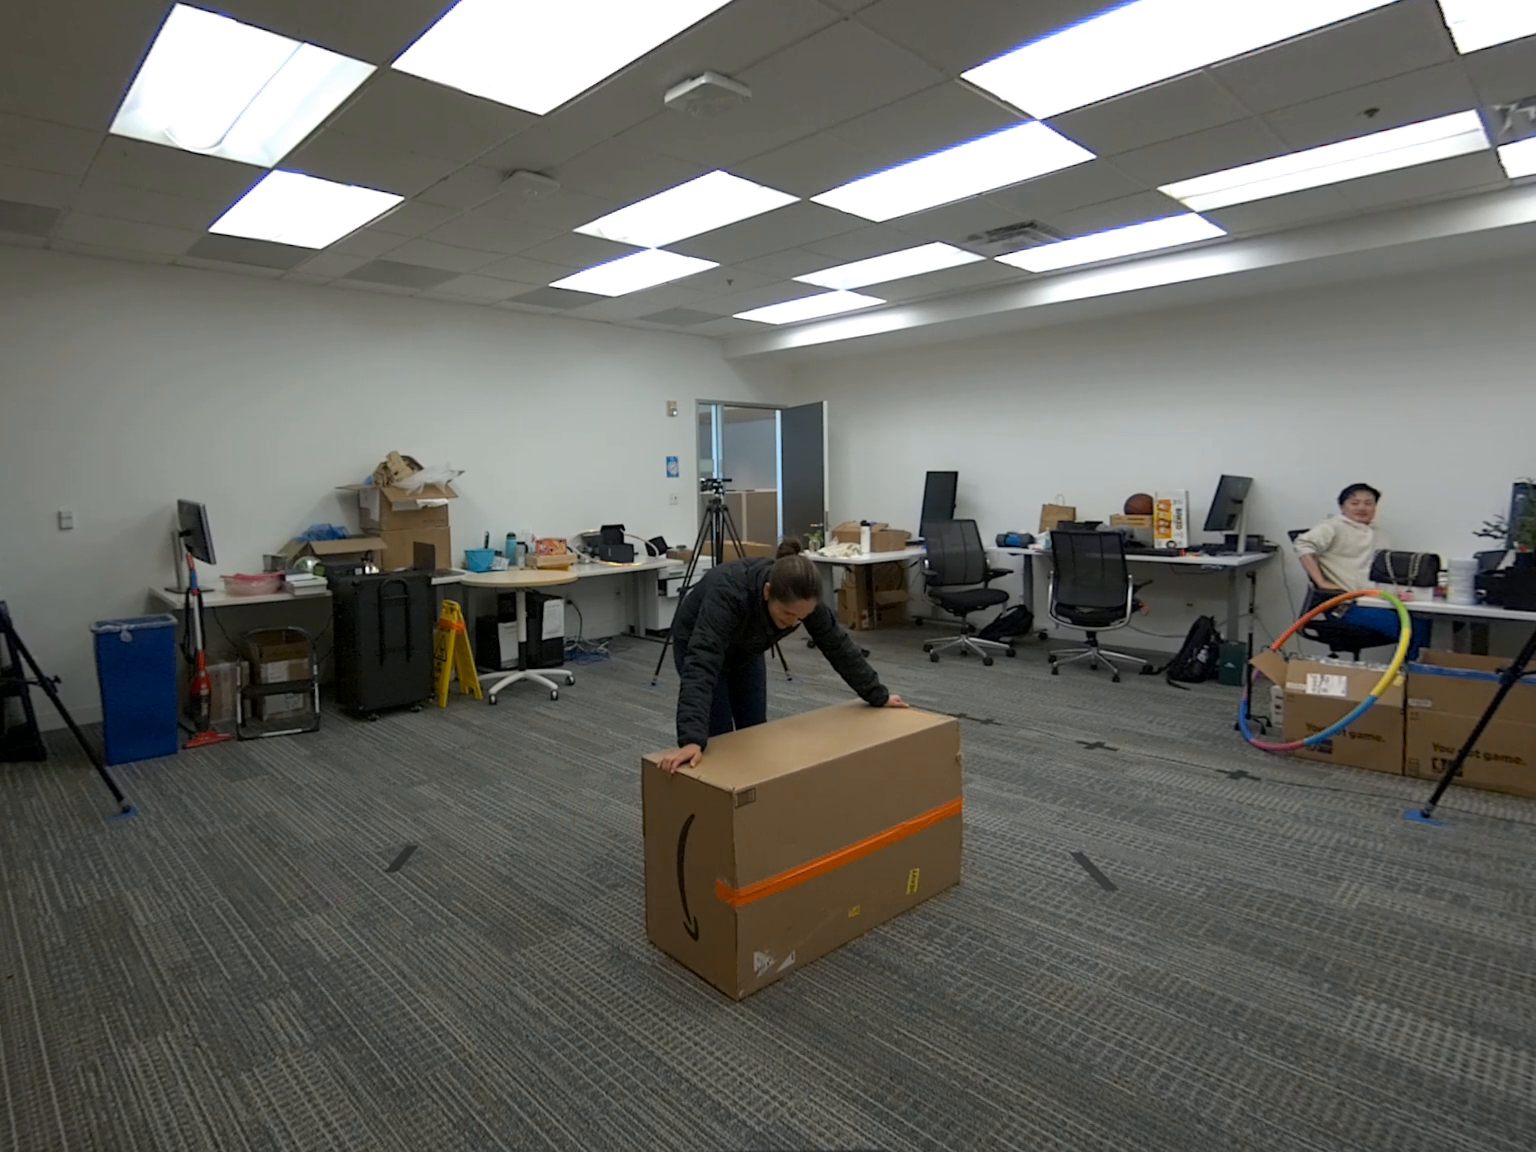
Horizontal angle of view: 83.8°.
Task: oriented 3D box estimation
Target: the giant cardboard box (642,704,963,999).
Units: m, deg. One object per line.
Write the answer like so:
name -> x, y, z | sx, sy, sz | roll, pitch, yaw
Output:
giant cardboard box -> 0.140, 0.795, 2.754 | 1.000, 0.582, 0.460 | -6, 5, -40
